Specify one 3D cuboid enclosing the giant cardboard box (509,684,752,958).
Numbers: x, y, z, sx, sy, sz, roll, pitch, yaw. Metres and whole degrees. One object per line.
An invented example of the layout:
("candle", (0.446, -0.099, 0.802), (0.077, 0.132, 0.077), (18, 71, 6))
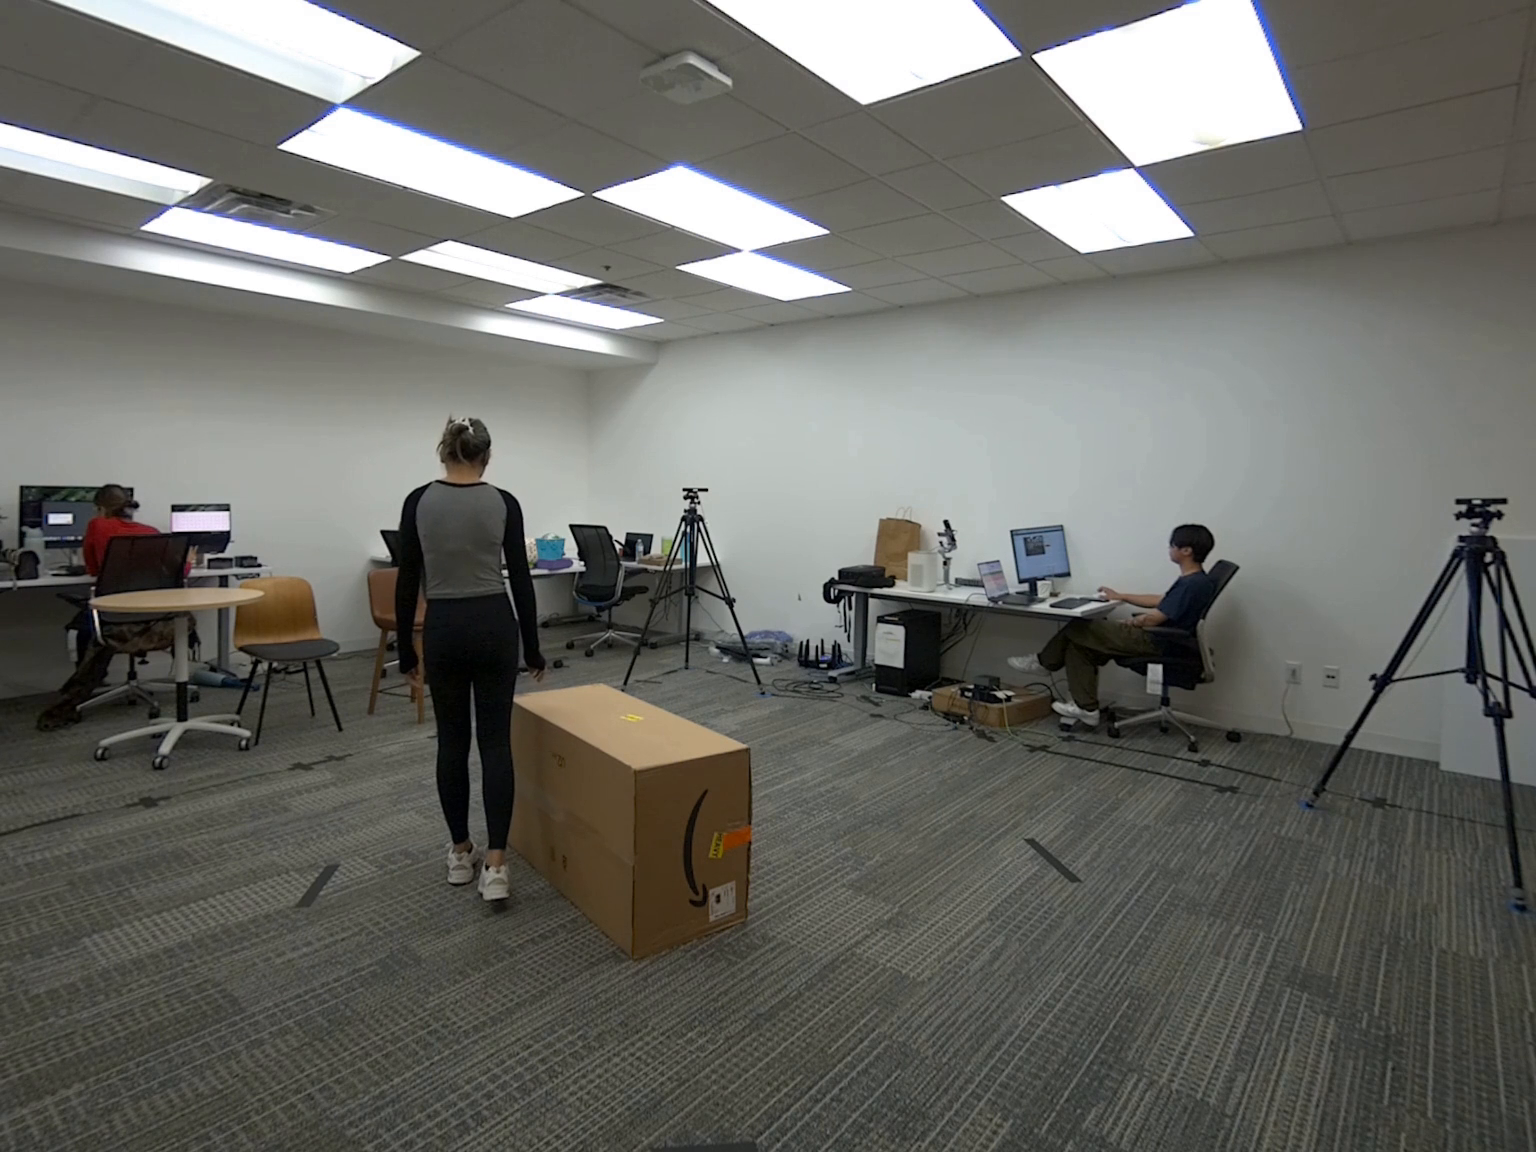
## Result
("giant cardboard box", (-0.546, 0.786, 3.010), (0.414, 0.575, 1.060), (-2, 6, -37))
